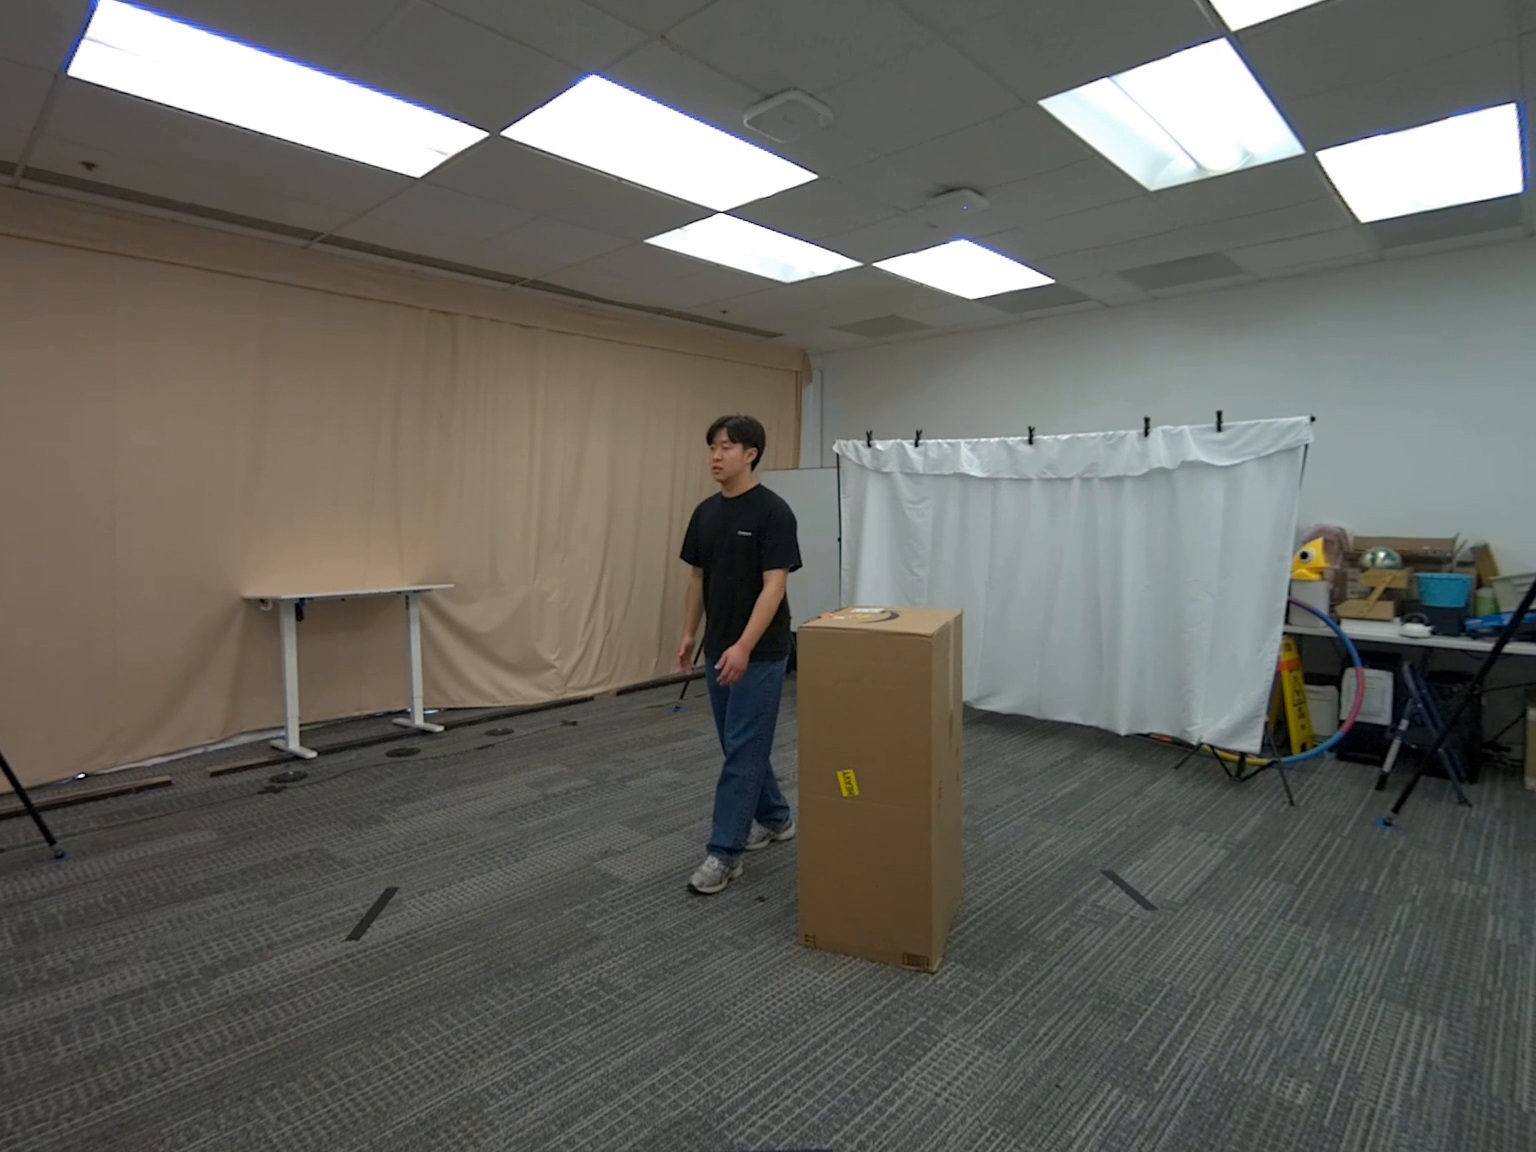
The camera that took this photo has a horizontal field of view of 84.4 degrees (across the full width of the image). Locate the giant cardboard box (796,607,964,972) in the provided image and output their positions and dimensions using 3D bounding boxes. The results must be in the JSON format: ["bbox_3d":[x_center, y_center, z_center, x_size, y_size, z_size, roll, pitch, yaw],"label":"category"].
[{"bbox_3d":[0.396,0.643,2.814,0.458,1.025,0.570,0,3,24],"label":"giant cardboard box"}]
